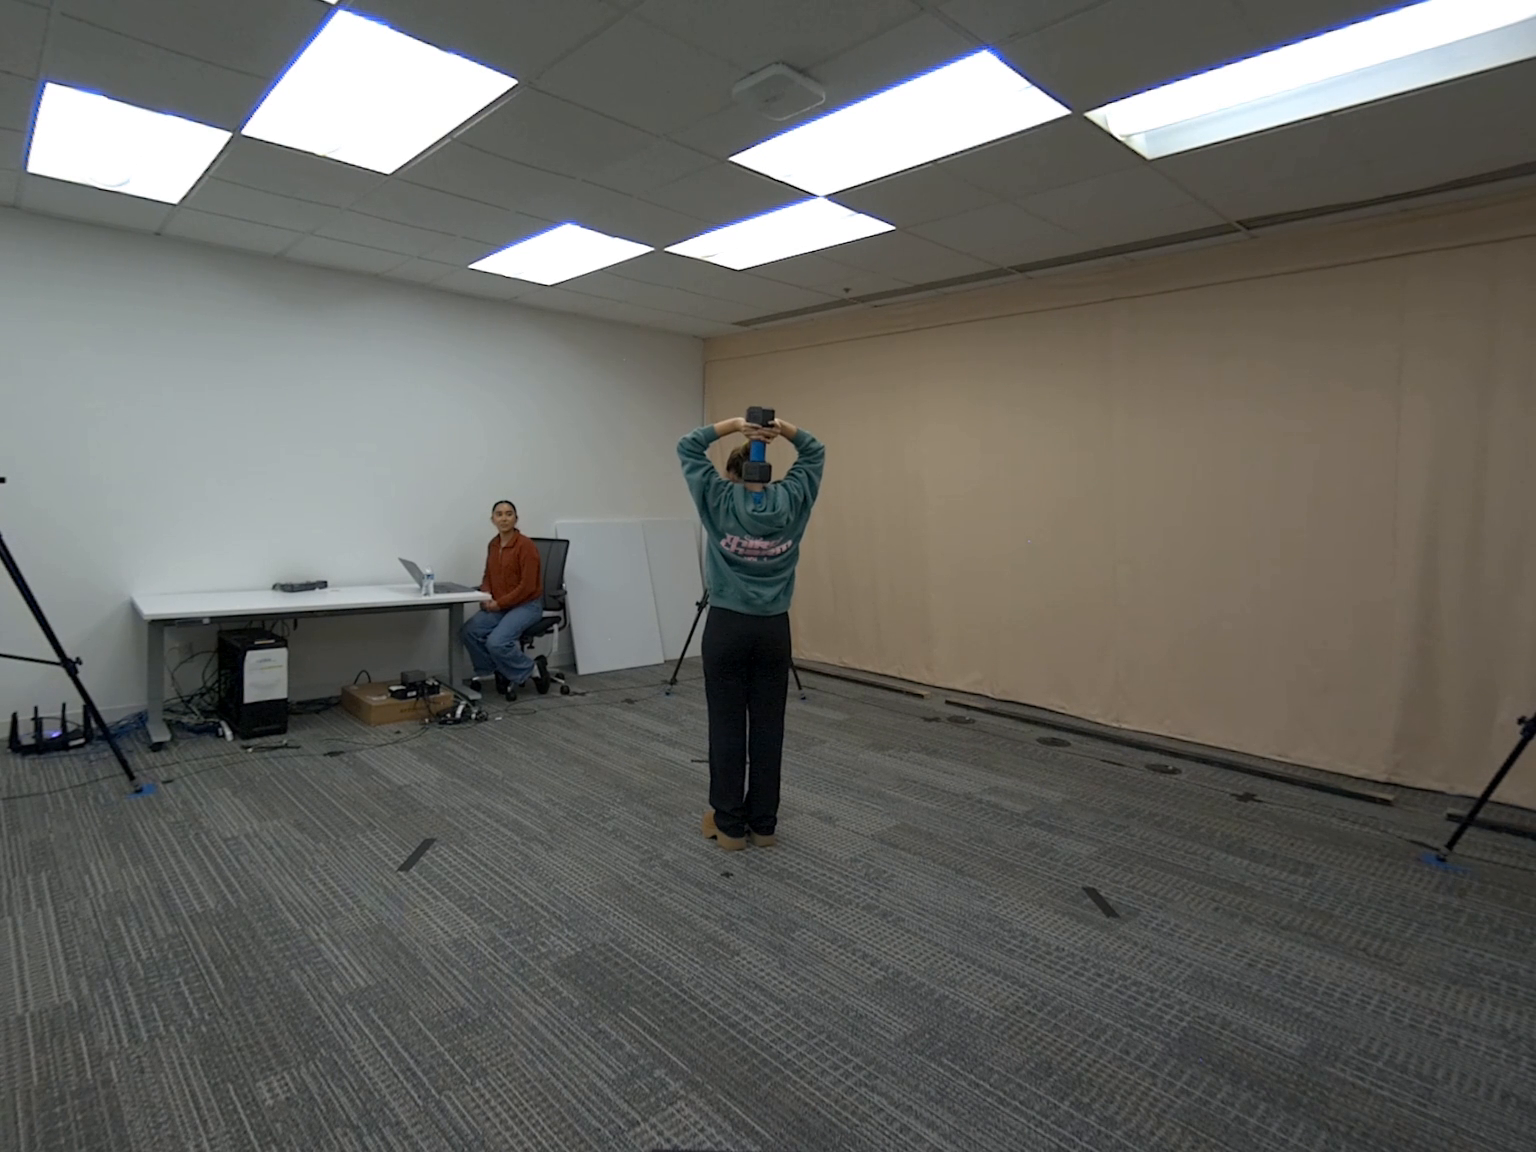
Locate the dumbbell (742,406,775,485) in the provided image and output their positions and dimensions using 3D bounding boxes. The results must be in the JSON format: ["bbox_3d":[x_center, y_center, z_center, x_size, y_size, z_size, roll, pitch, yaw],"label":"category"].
[{"bbox_3d":[-0.050,-0.511,3.268,0.108,0.293,0.124,1,2,-12],"label":"dumbbell"}]
